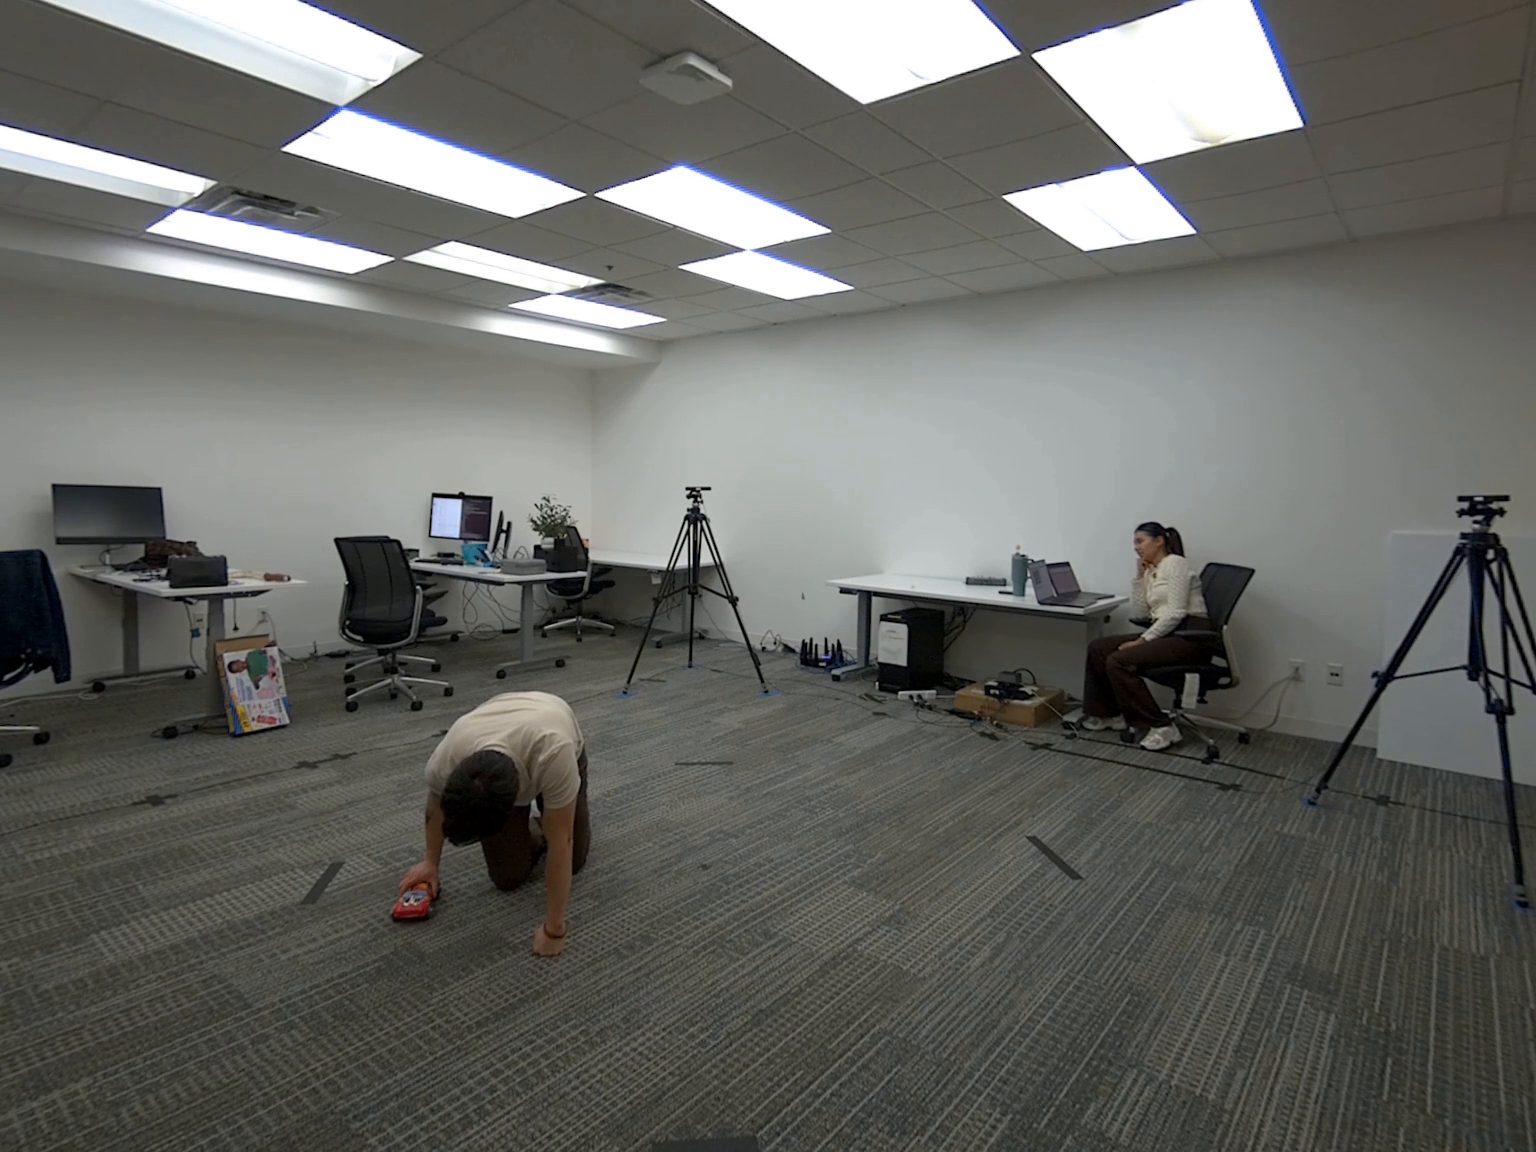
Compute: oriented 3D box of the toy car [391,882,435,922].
[{"bbox_3d":[-1.164,1.054,2.802,0.129,0.082,0.260,-1,16,-8],"label":"toy car"}]
